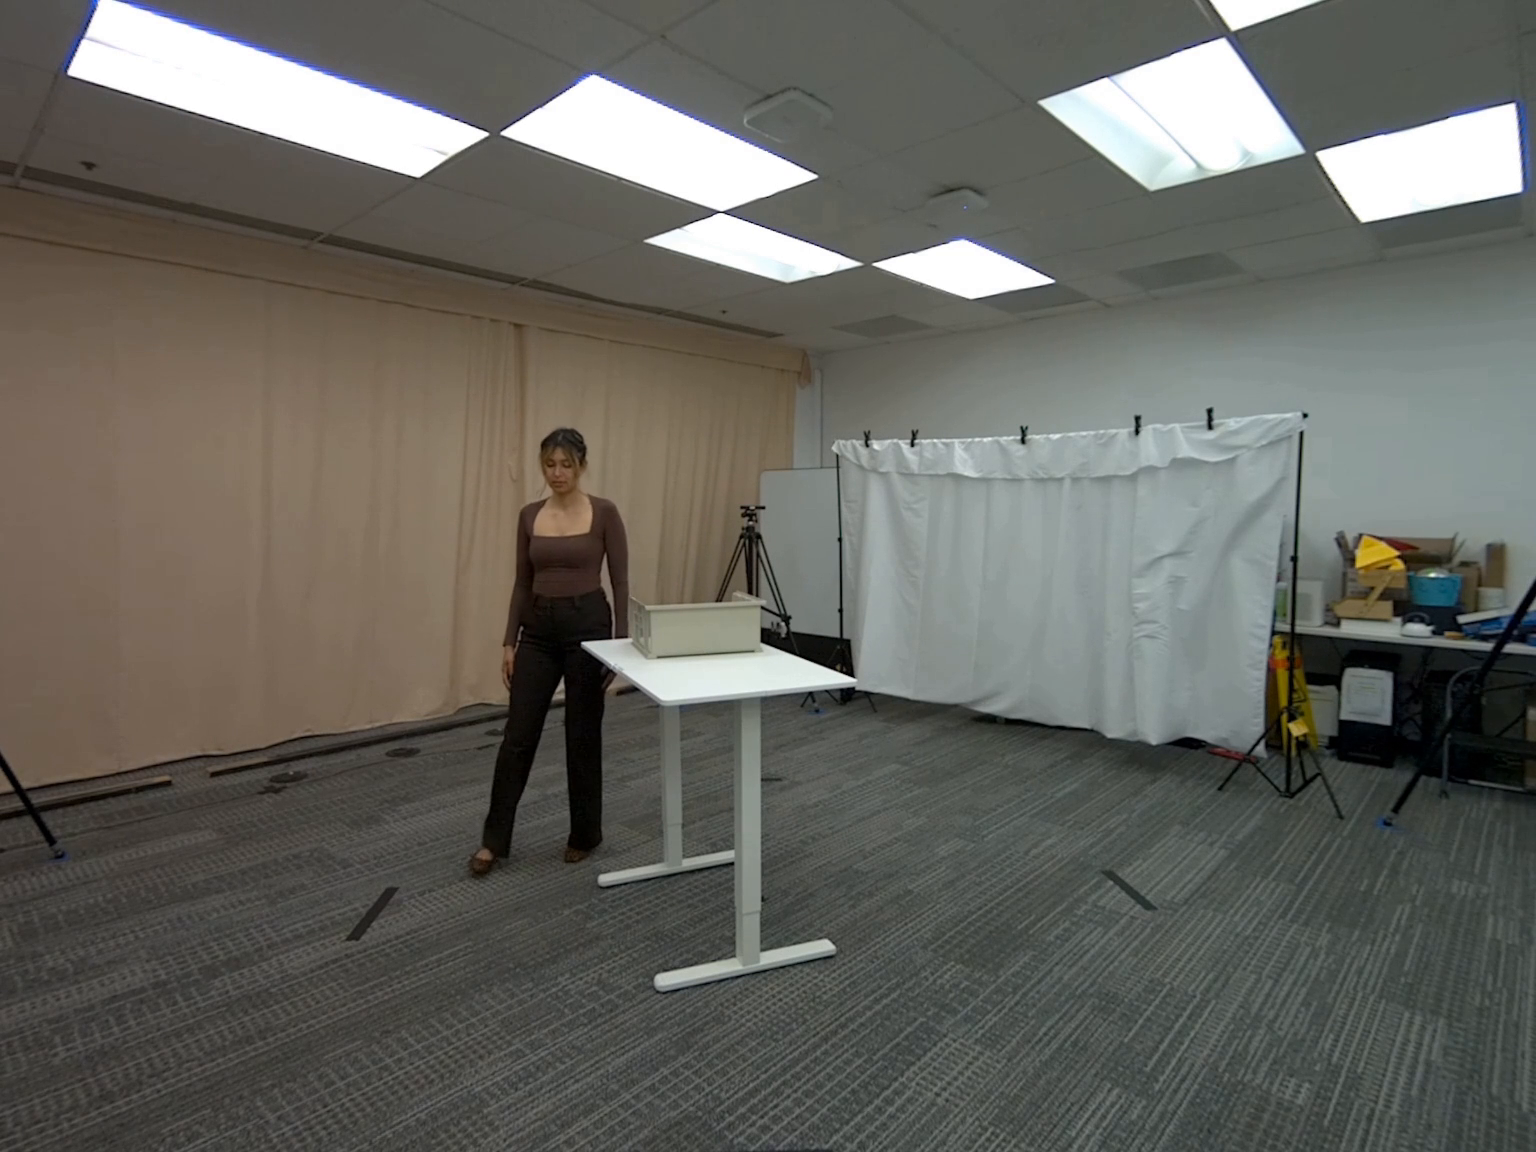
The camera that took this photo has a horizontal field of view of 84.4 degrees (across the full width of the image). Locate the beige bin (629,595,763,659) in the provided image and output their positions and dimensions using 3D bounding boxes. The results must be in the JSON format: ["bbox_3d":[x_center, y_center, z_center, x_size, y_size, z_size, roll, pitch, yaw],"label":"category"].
[{"bbox_3d":[-0.267,0.169,3.019,0.415,0.188,0.385,-2,6,-18],"label":"beige bin"}]
